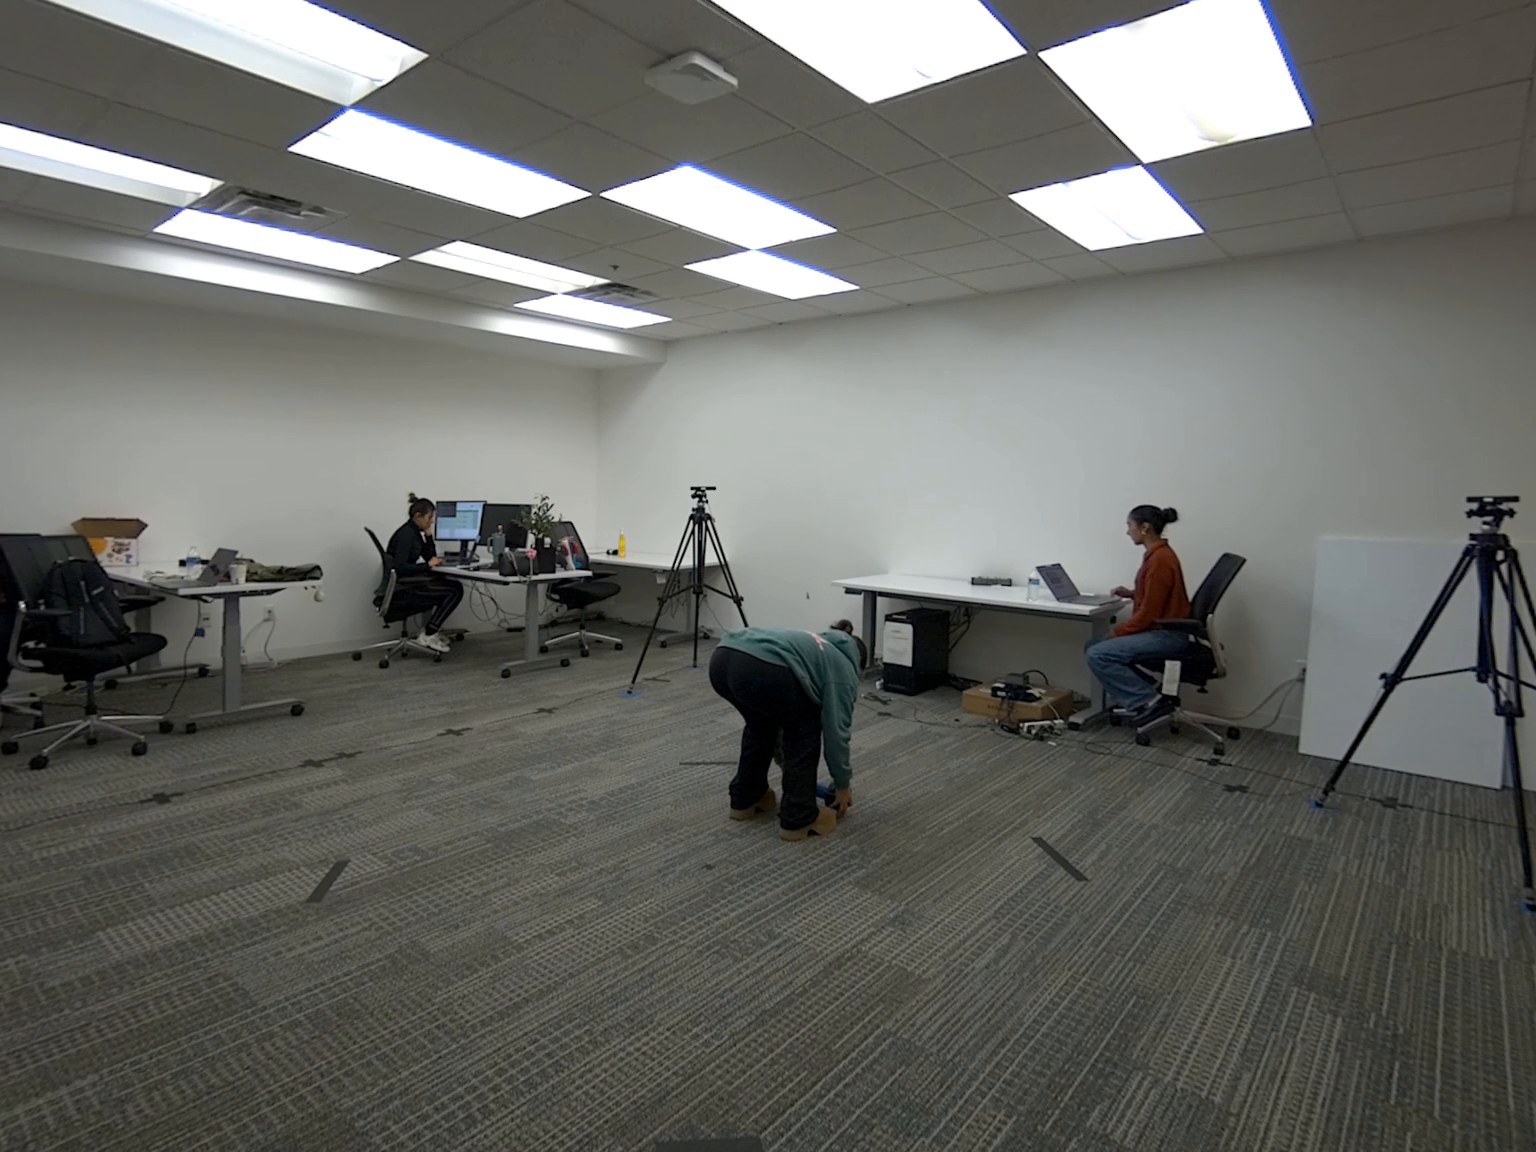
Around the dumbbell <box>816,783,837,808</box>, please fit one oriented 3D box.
[{"bbox_3d":[0.213,0.936,3.721,0.304,0.122,0.106,7,15,43],"label":"dumbbell"}]
